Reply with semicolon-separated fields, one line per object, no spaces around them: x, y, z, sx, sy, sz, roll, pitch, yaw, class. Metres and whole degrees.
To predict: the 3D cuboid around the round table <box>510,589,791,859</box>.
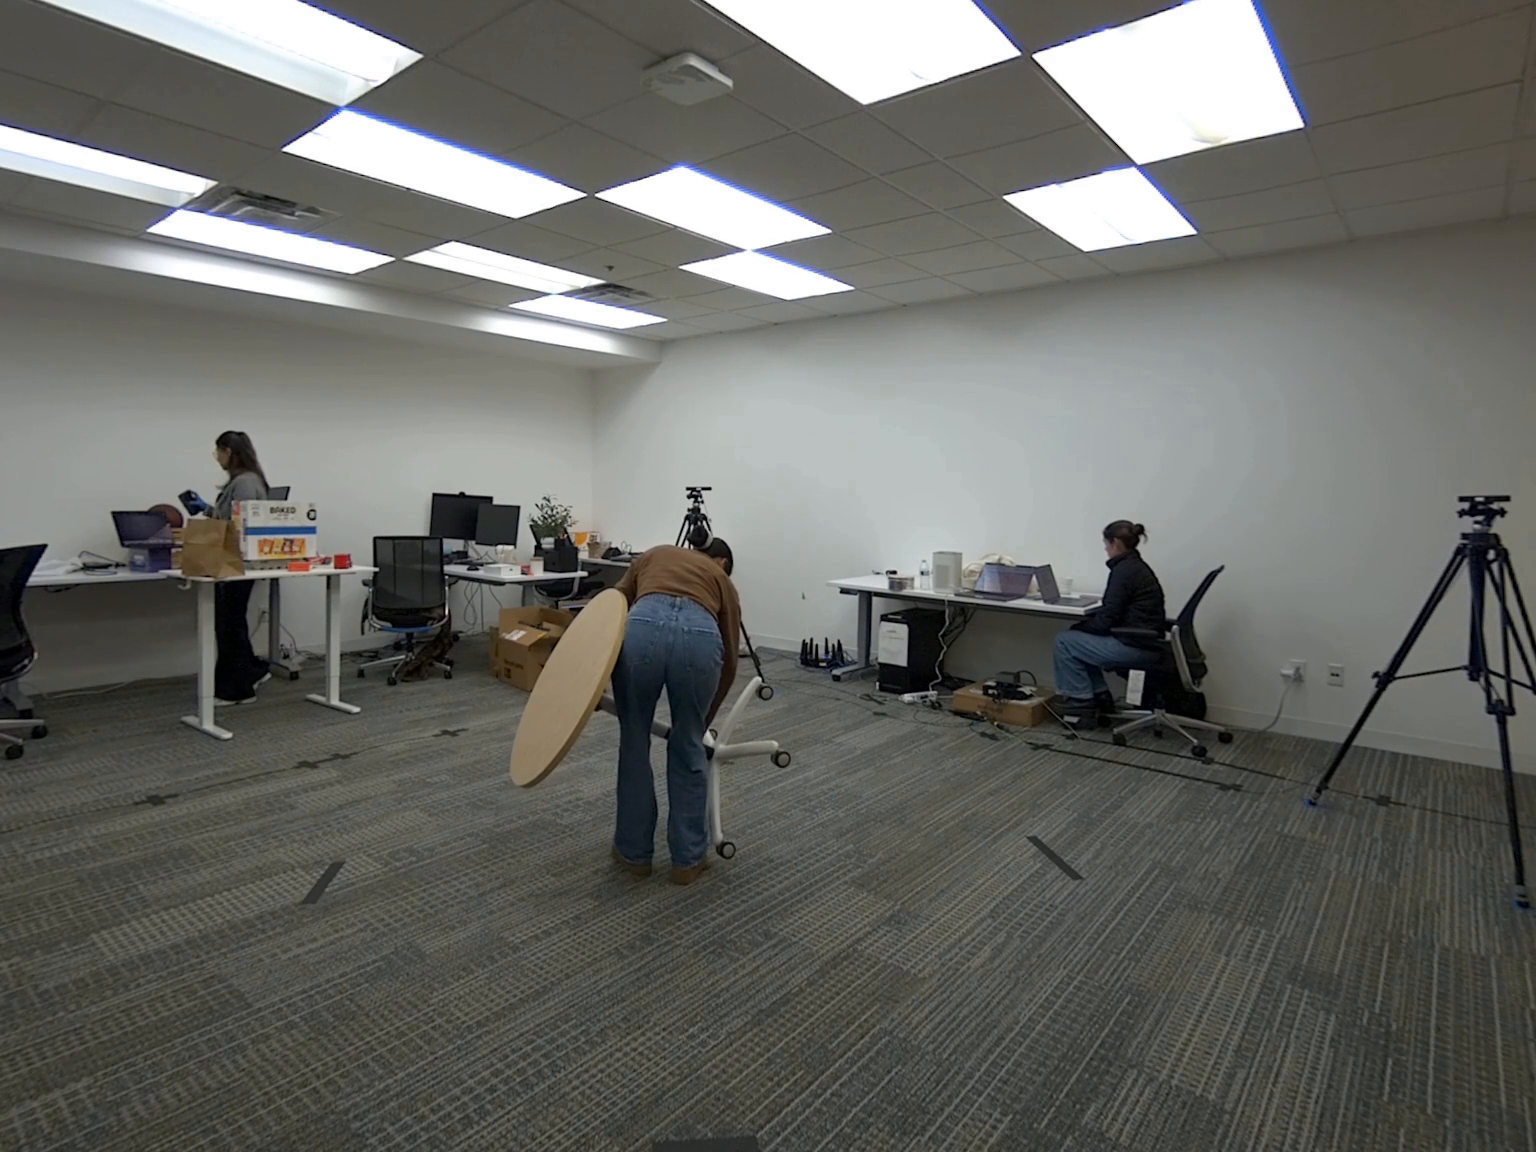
-0.431;0.568;3.212;0.772;0.766;0.784;30;-8;-22;round table
